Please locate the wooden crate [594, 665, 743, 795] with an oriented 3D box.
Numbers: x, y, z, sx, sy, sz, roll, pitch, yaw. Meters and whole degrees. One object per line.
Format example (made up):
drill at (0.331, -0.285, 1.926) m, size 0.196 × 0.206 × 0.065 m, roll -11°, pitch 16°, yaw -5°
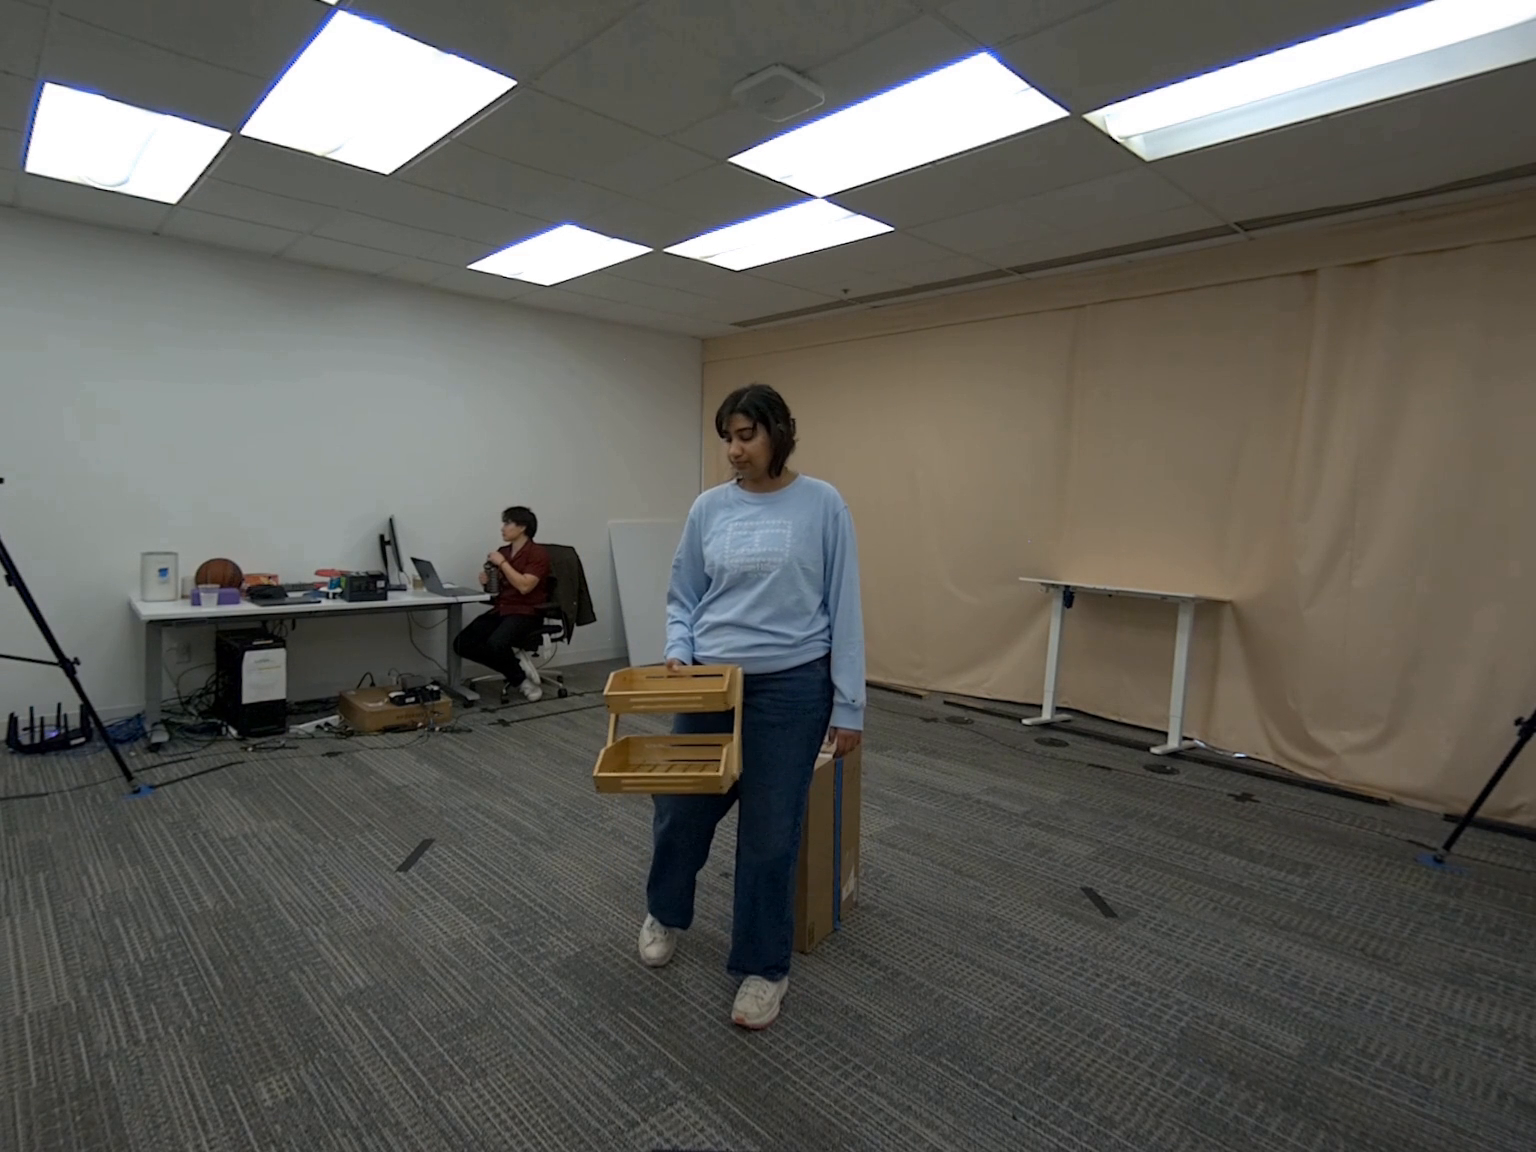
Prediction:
wooden crate at (-0.248, 0.364, 2.023) m, size 0.326 × 0.274 × 0.300 m, roll -3°, pitch -1°, yaw 8°
